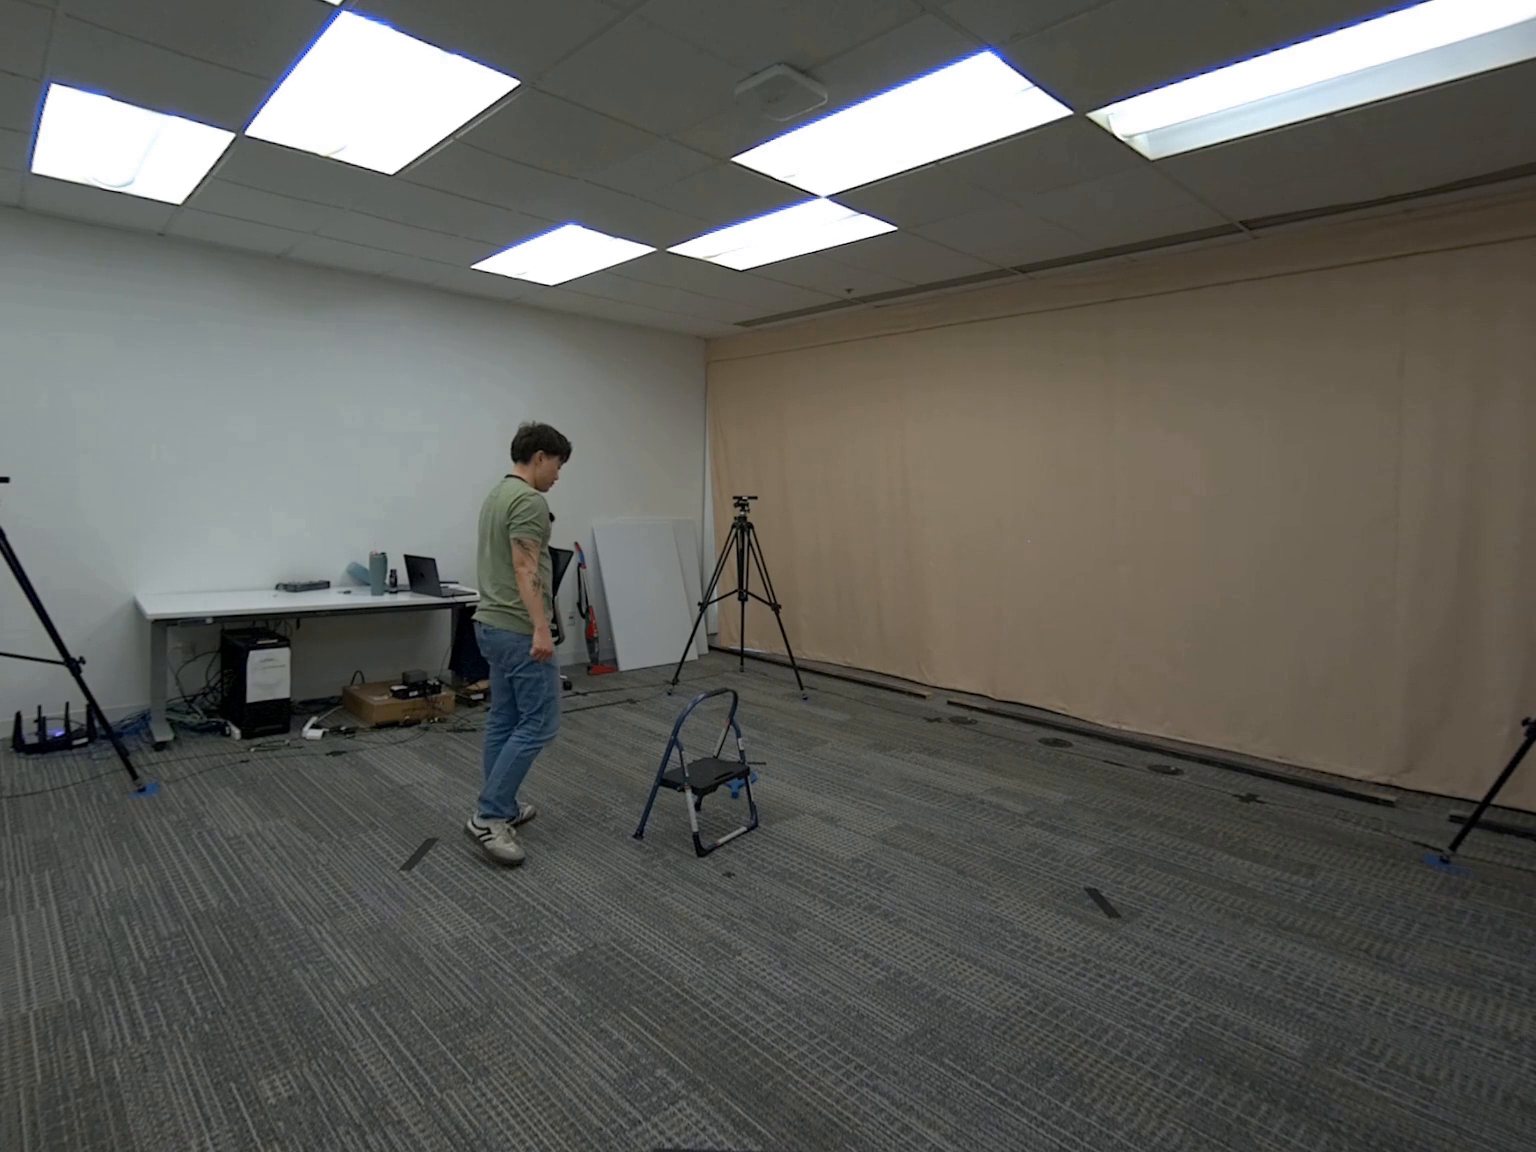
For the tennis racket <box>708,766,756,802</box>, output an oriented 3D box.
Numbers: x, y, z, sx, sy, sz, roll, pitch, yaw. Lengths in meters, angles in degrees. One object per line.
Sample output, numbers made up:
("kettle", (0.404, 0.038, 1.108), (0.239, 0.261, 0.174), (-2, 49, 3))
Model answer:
("tennis racket", (-0.174, 1.007, 4.121), (0.214, 0.032, 0.433), (1, 4, 0))
